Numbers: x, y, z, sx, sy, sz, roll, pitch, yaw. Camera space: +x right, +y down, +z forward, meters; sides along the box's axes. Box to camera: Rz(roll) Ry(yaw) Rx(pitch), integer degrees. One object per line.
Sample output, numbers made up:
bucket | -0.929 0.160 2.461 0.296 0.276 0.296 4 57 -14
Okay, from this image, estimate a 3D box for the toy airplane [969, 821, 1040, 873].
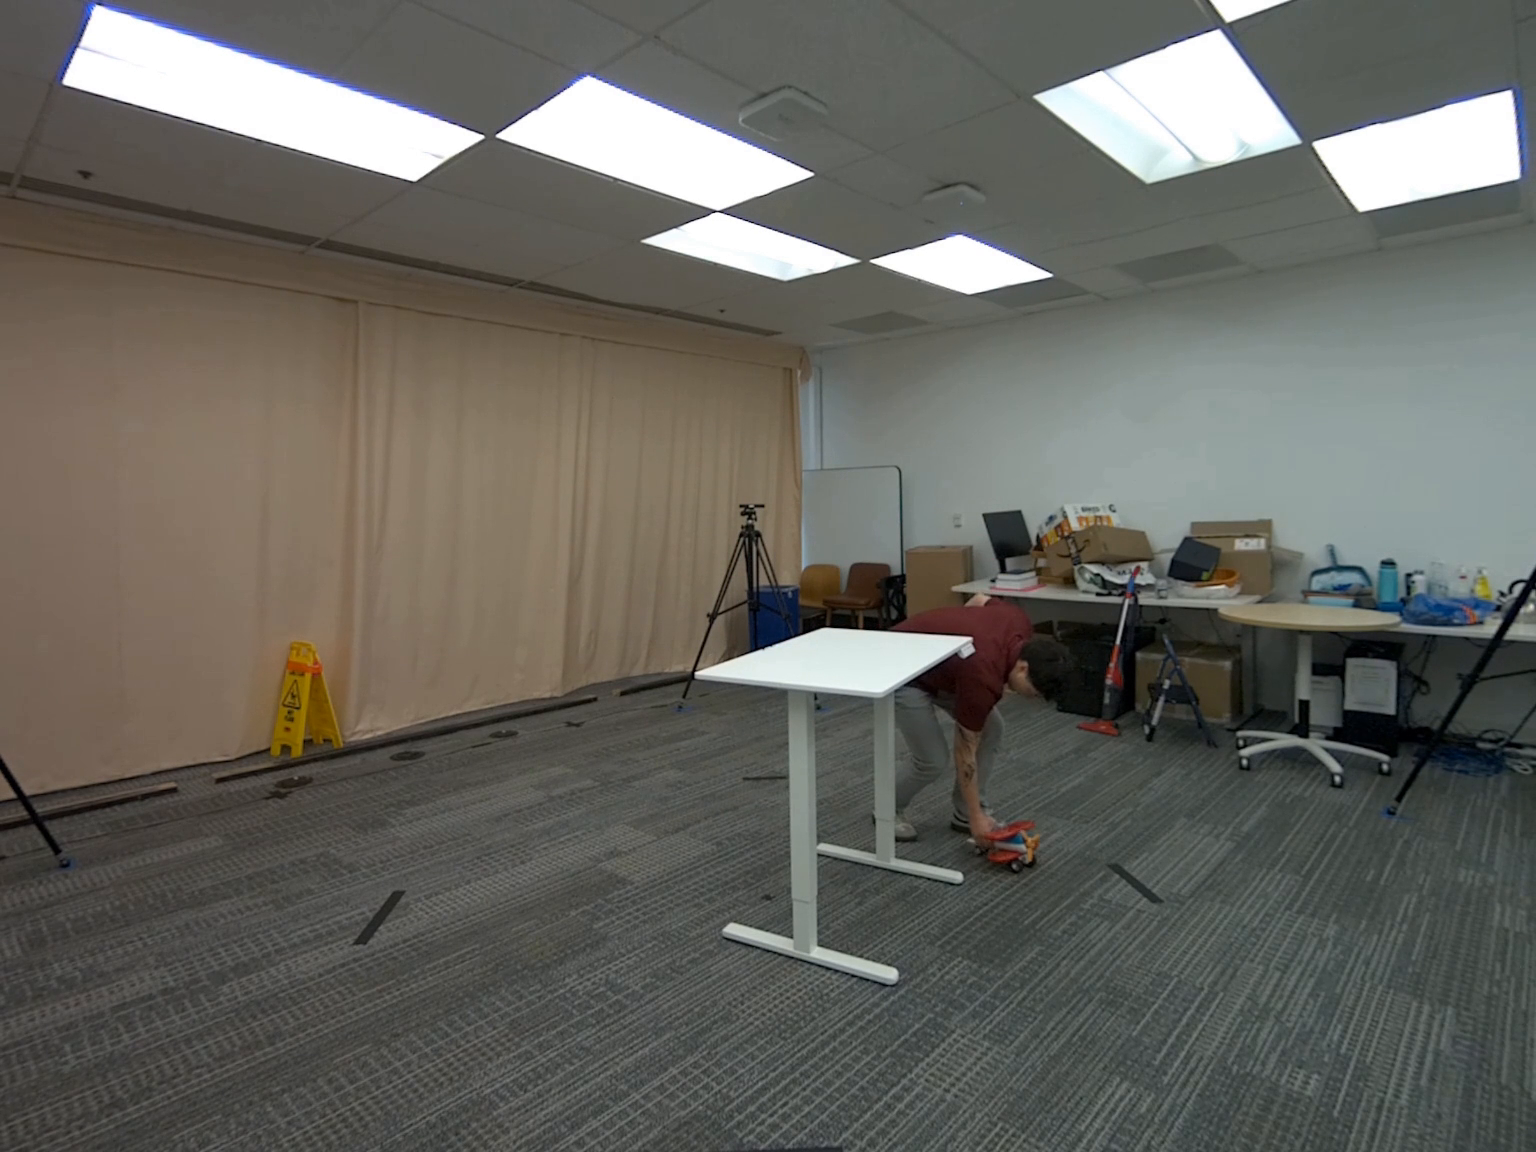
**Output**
toy airplane | 0.897 1.020 3.221 0.265 0.156 0.246 6 8 22
